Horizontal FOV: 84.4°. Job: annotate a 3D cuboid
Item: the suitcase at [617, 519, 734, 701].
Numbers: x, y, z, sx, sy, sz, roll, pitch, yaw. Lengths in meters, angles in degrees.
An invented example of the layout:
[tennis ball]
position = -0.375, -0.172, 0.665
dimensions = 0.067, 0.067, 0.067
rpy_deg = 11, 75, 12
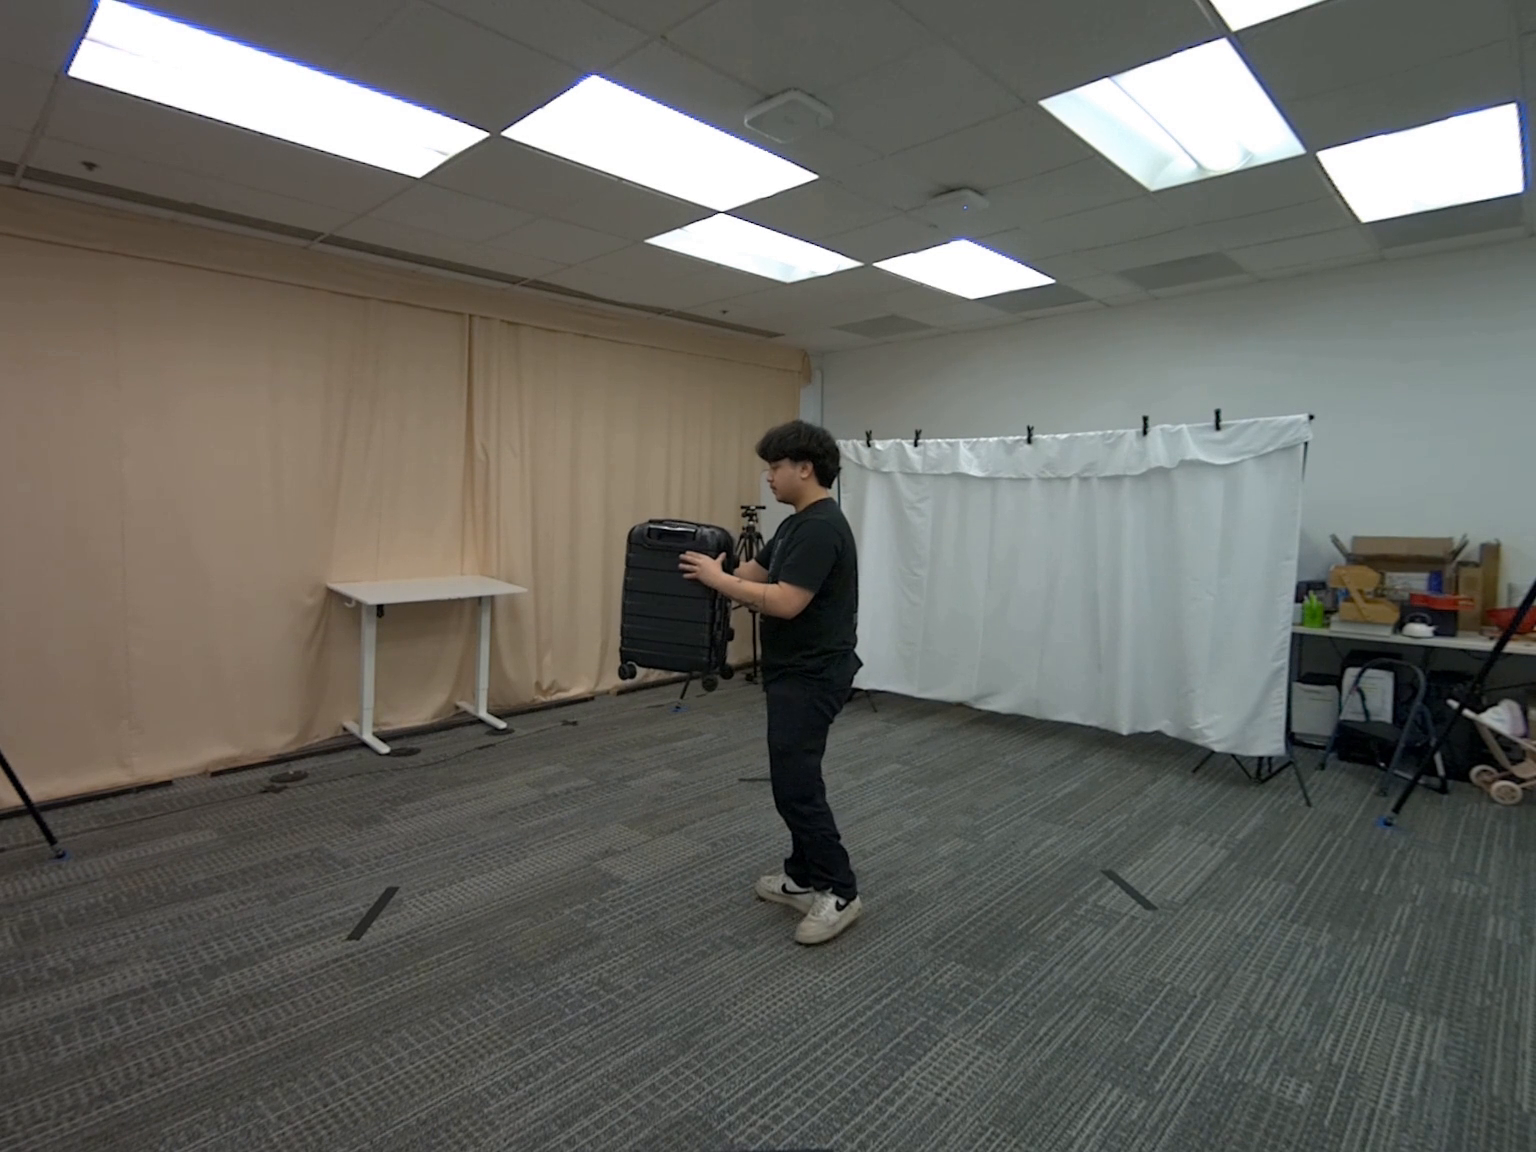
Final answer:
[suitcase]
position = -0.310, 0.081, 2.924
dimensions = 0.383, 0.548, 0.244
rpy_deg = 5, 3, 18
